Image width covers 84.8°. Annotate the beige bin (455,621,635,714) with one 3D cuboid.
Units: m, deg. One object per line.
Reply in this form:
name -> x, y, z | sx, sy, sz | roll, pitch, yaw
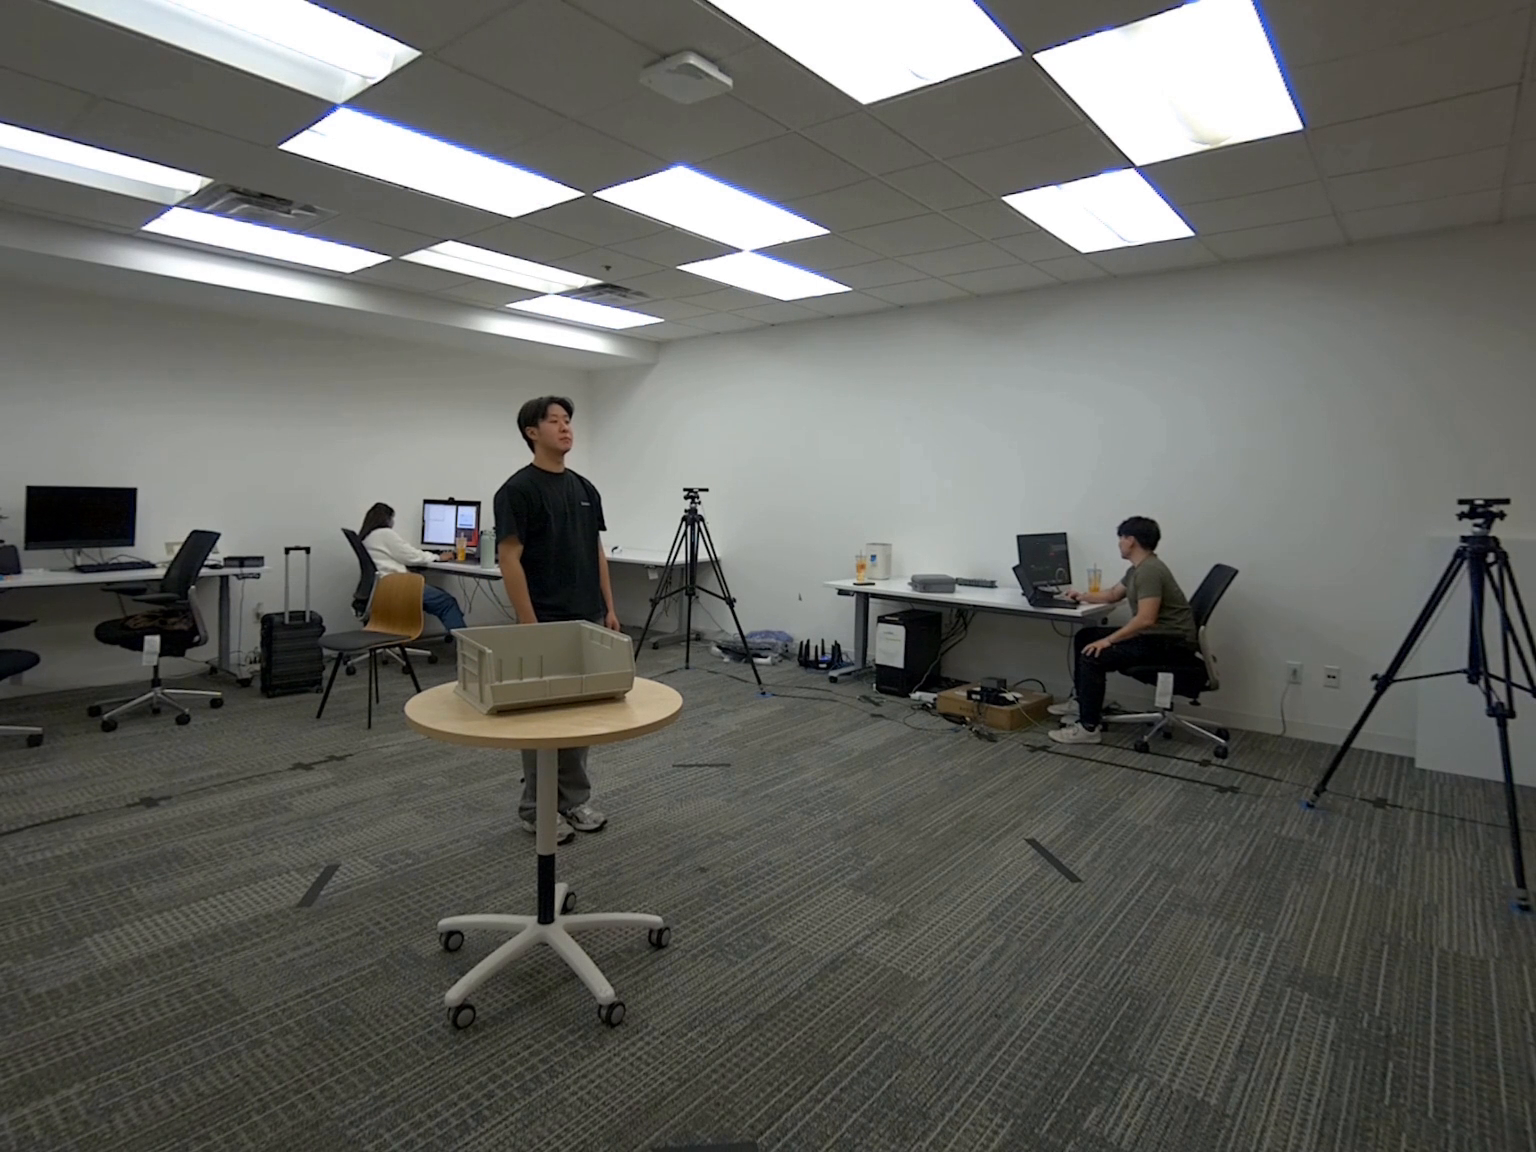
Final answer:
beige bin -> -0.660, 0.256, 2.447 | 0.410, 0.188, 0.389 | -2, 5, -34
